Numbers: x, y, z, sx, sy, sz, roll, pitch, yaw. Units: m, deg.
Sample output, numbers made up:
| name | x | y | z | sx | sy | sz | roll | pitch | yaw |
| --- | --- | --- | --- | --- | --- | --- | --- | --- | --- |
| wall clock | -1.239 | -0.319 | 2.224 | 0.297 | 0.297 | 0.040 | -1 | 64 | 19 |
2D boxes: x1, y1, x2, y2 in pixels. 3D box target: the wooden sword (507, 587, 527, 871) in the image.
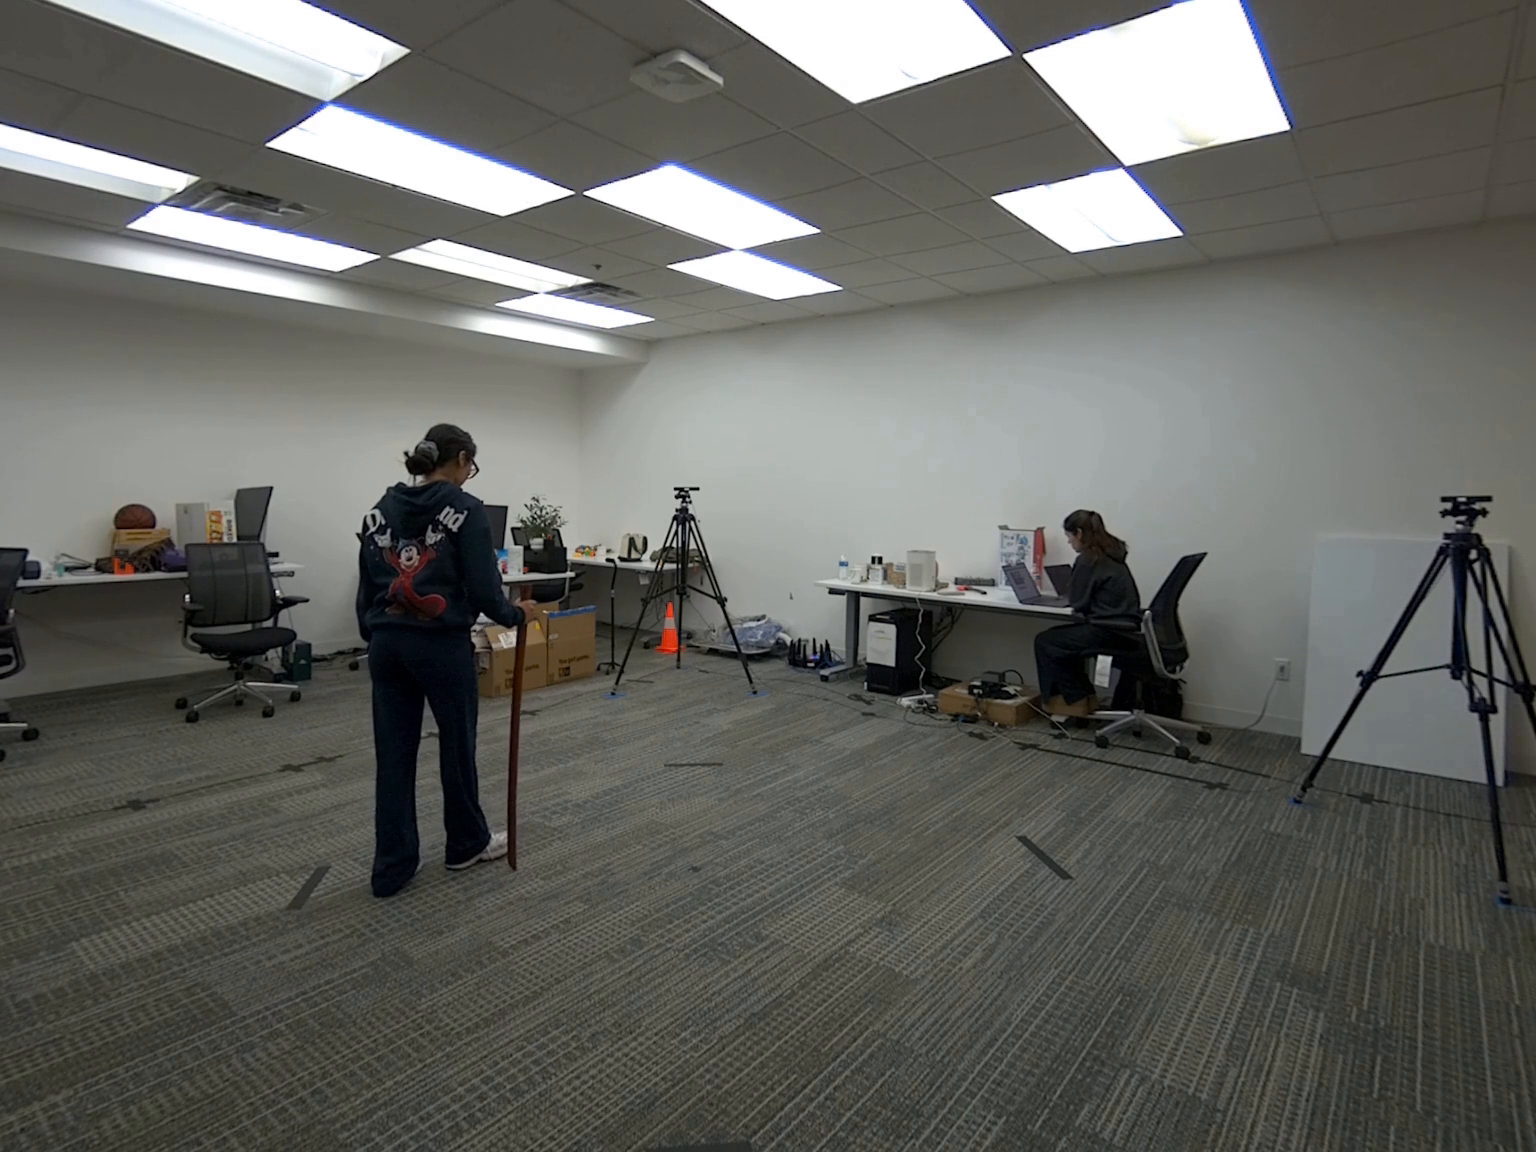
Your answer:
| name | x | y | z | sx | sy | sz | roll | pitch | yaw |
| --- | --- | --- | --- | --- | --- | --- | --- | --- | --- |
| wooden sword | -0.939 | 0.567 | 3.104 | 0.049 | 1.029 | 0.025 | 5 | -5 | -42 |
